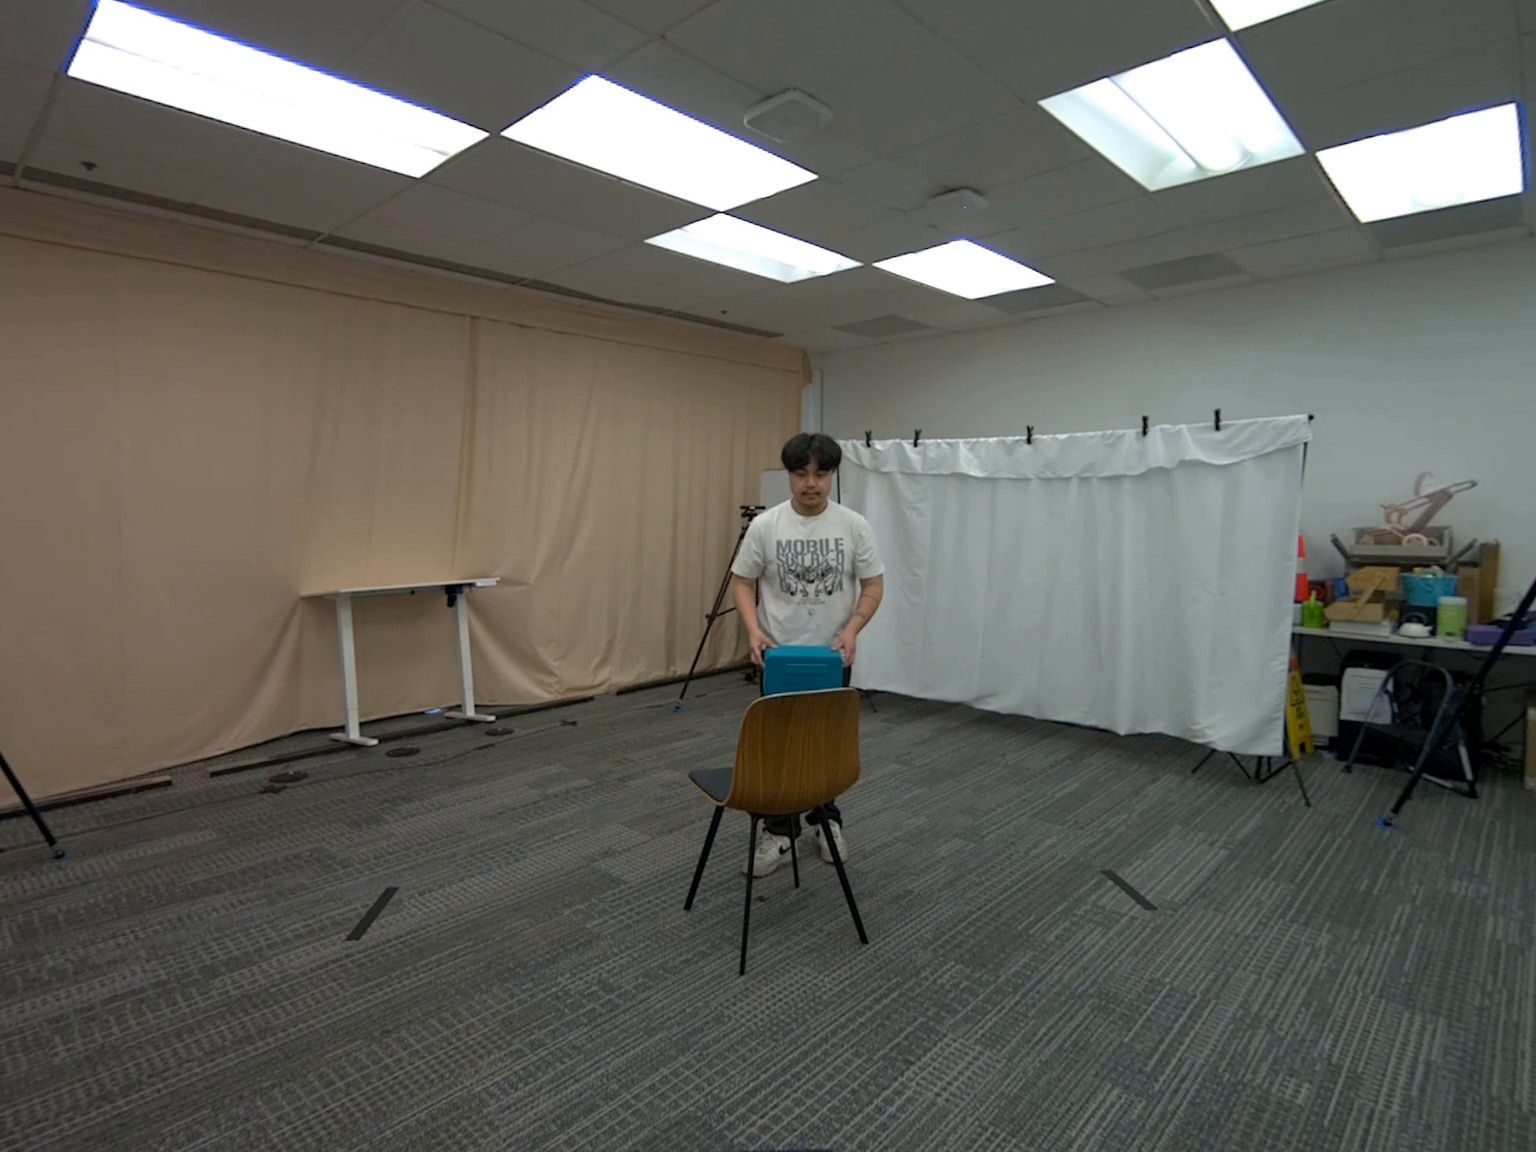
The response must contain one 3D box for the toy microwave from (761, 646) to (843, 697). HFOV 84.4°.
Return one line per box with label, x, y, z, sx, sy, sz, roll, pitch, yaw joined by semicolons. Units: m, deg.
toy microwave;0.133;0.361;3.104;0.287;0.183;0.153;1;11;1
